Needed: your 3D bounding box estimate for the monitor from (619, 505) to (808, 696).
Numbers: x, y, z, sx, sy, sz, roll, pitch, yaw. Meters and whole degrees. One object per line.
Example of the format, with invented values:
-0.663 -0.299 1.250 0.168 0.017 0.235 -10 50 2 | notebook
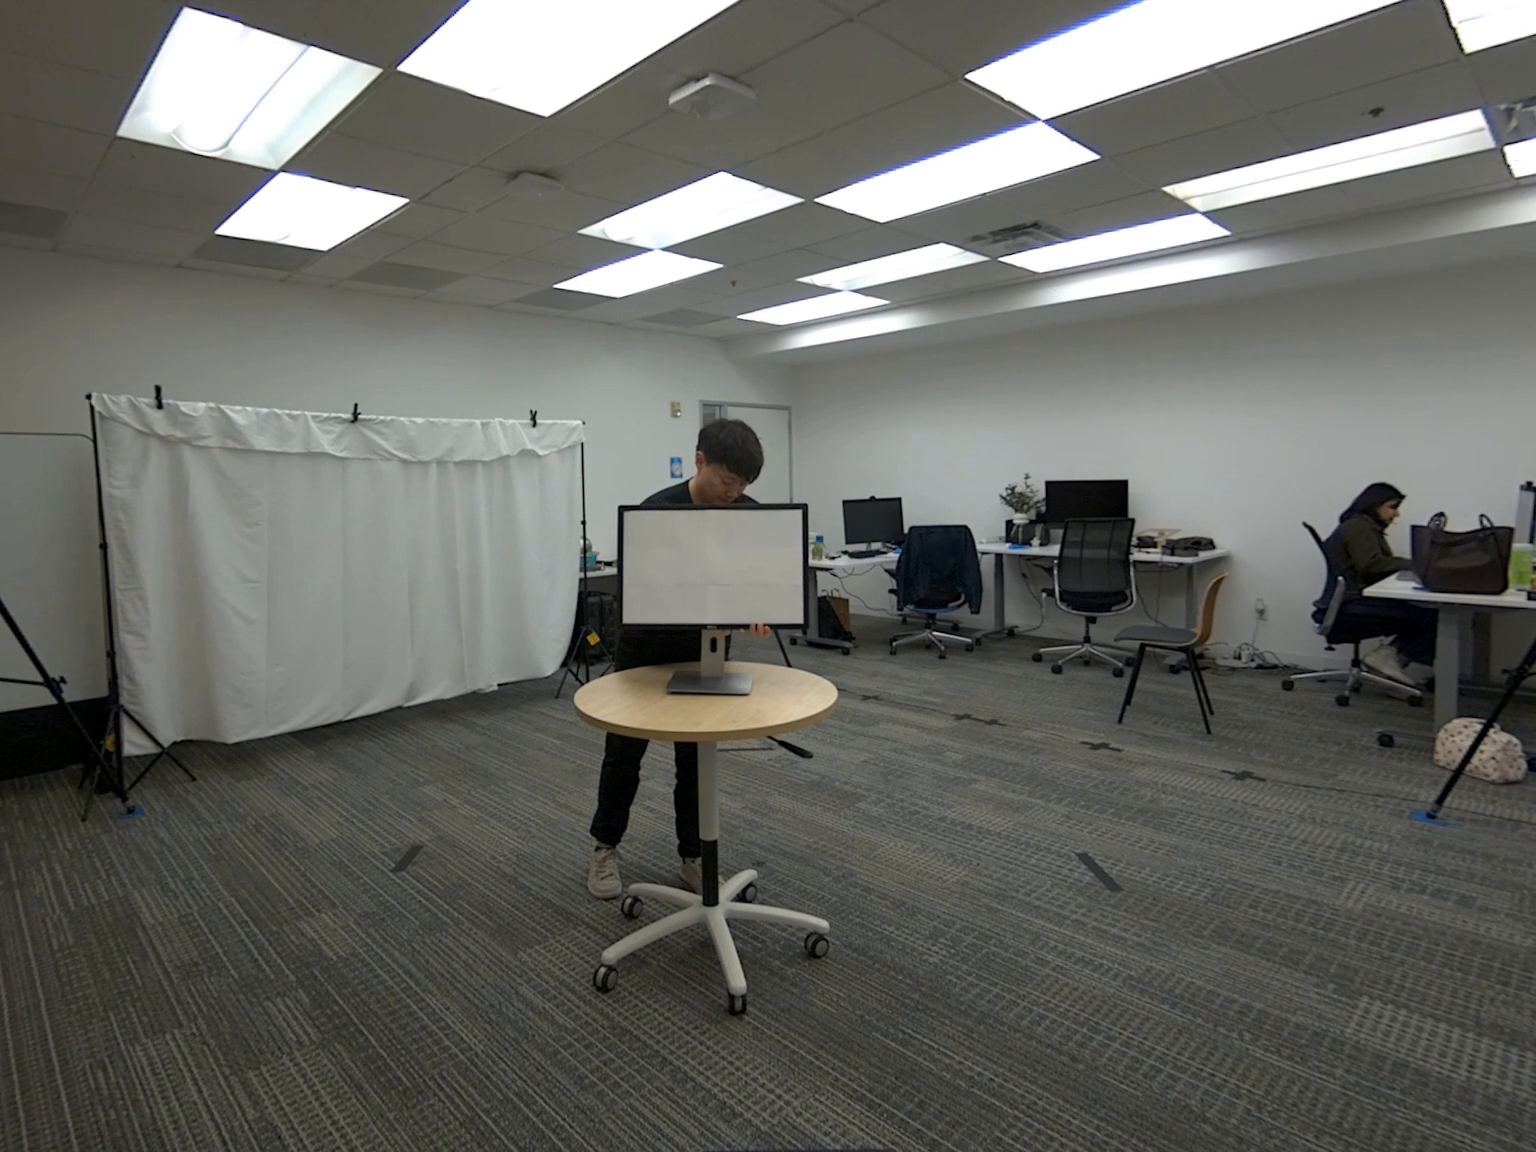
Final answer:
-0.164 0.070 2.535 0.540 0.520 0.187 -1 6 3 | monitor
